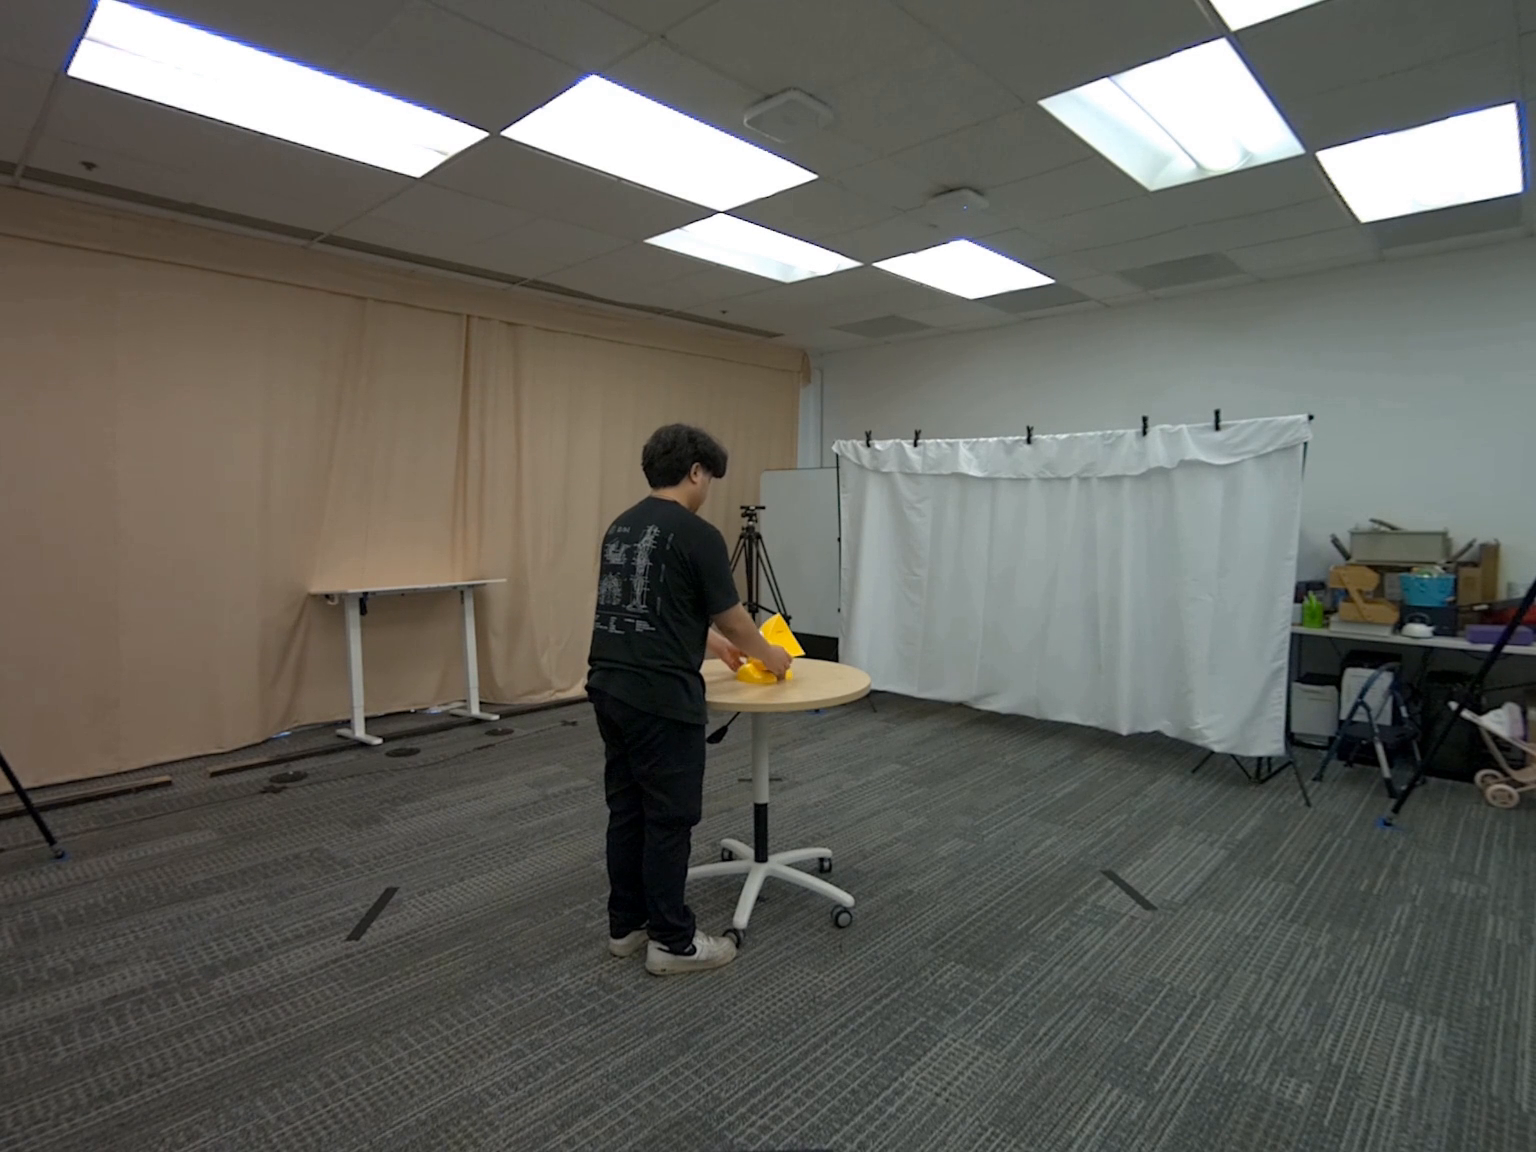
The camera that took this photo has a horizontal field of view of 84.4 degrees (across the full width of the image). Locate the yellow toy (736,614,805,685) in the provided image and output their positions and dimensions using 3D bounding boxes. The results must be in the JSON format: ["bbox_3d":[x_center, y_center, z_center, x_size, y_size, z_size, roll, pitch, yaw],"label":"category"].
[{"bbox_3d":[0.000,0.242,2.925,0.199,0.230,0.198,2,4,43],"label":"yellow toy"}]
